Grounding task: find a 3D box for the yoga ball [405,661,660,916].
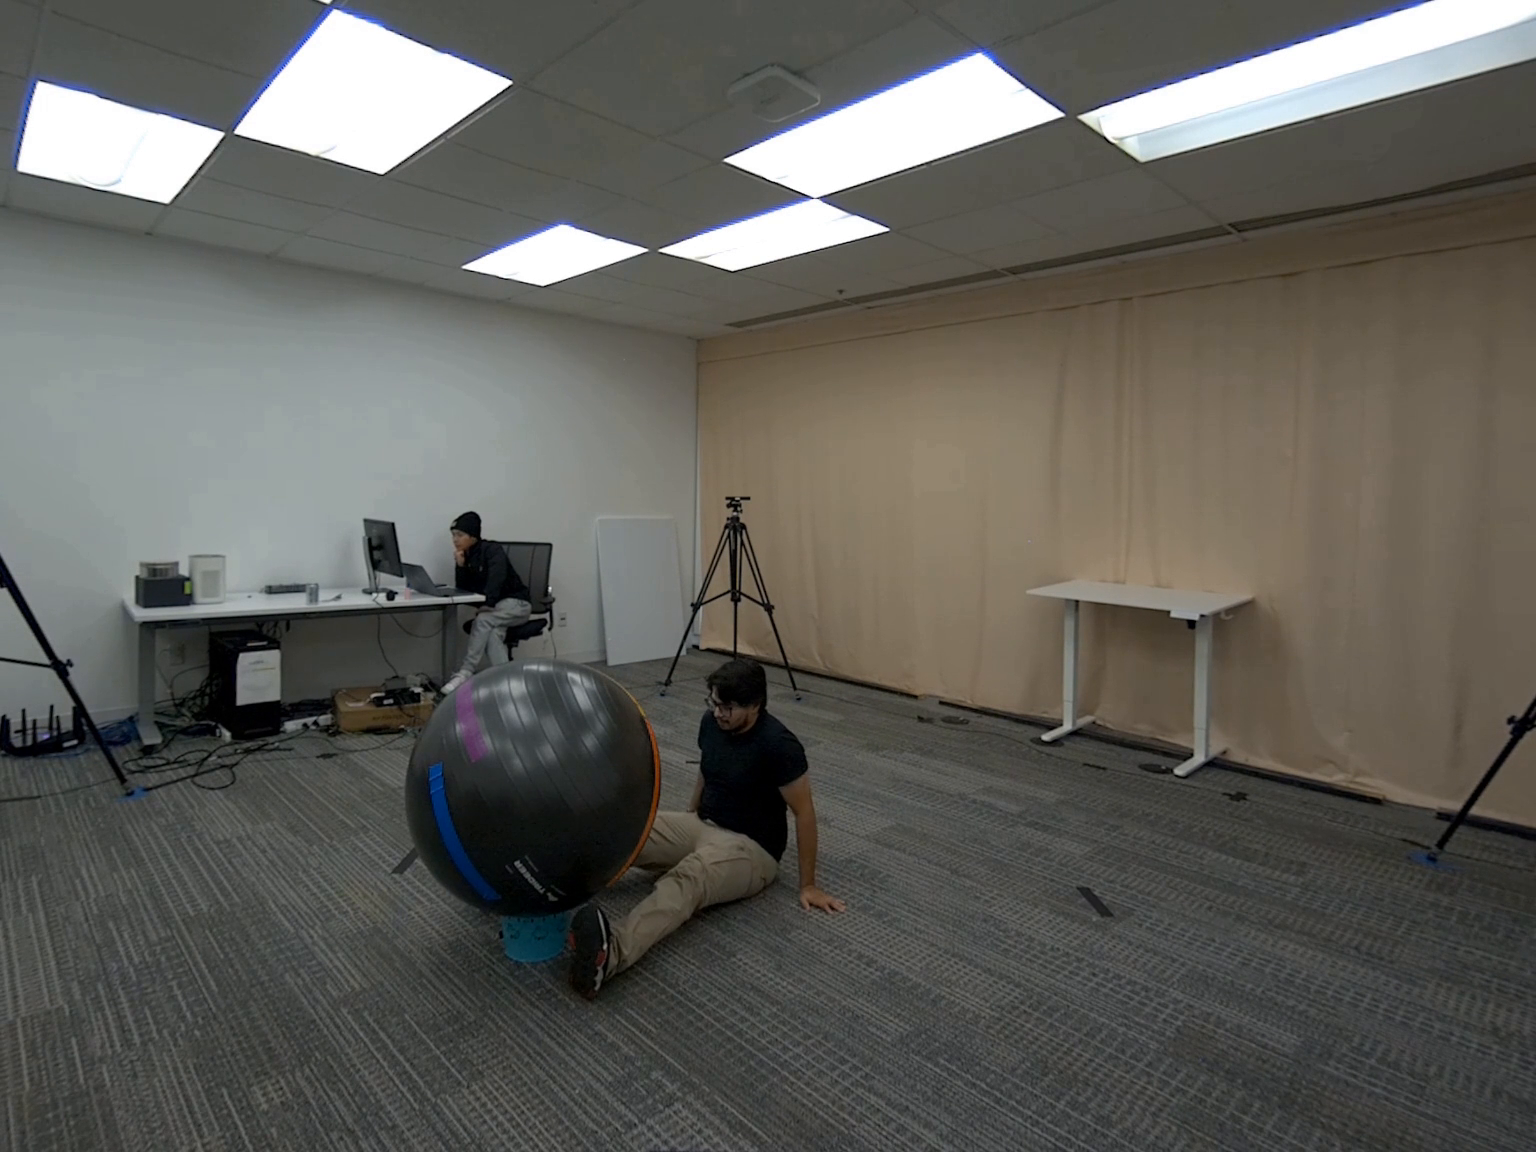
[{"bbox_3d":[-0.712,0.637,2.564,0.757,0.756,0.761,1,4,-1],"label":"yoga ball"}]
